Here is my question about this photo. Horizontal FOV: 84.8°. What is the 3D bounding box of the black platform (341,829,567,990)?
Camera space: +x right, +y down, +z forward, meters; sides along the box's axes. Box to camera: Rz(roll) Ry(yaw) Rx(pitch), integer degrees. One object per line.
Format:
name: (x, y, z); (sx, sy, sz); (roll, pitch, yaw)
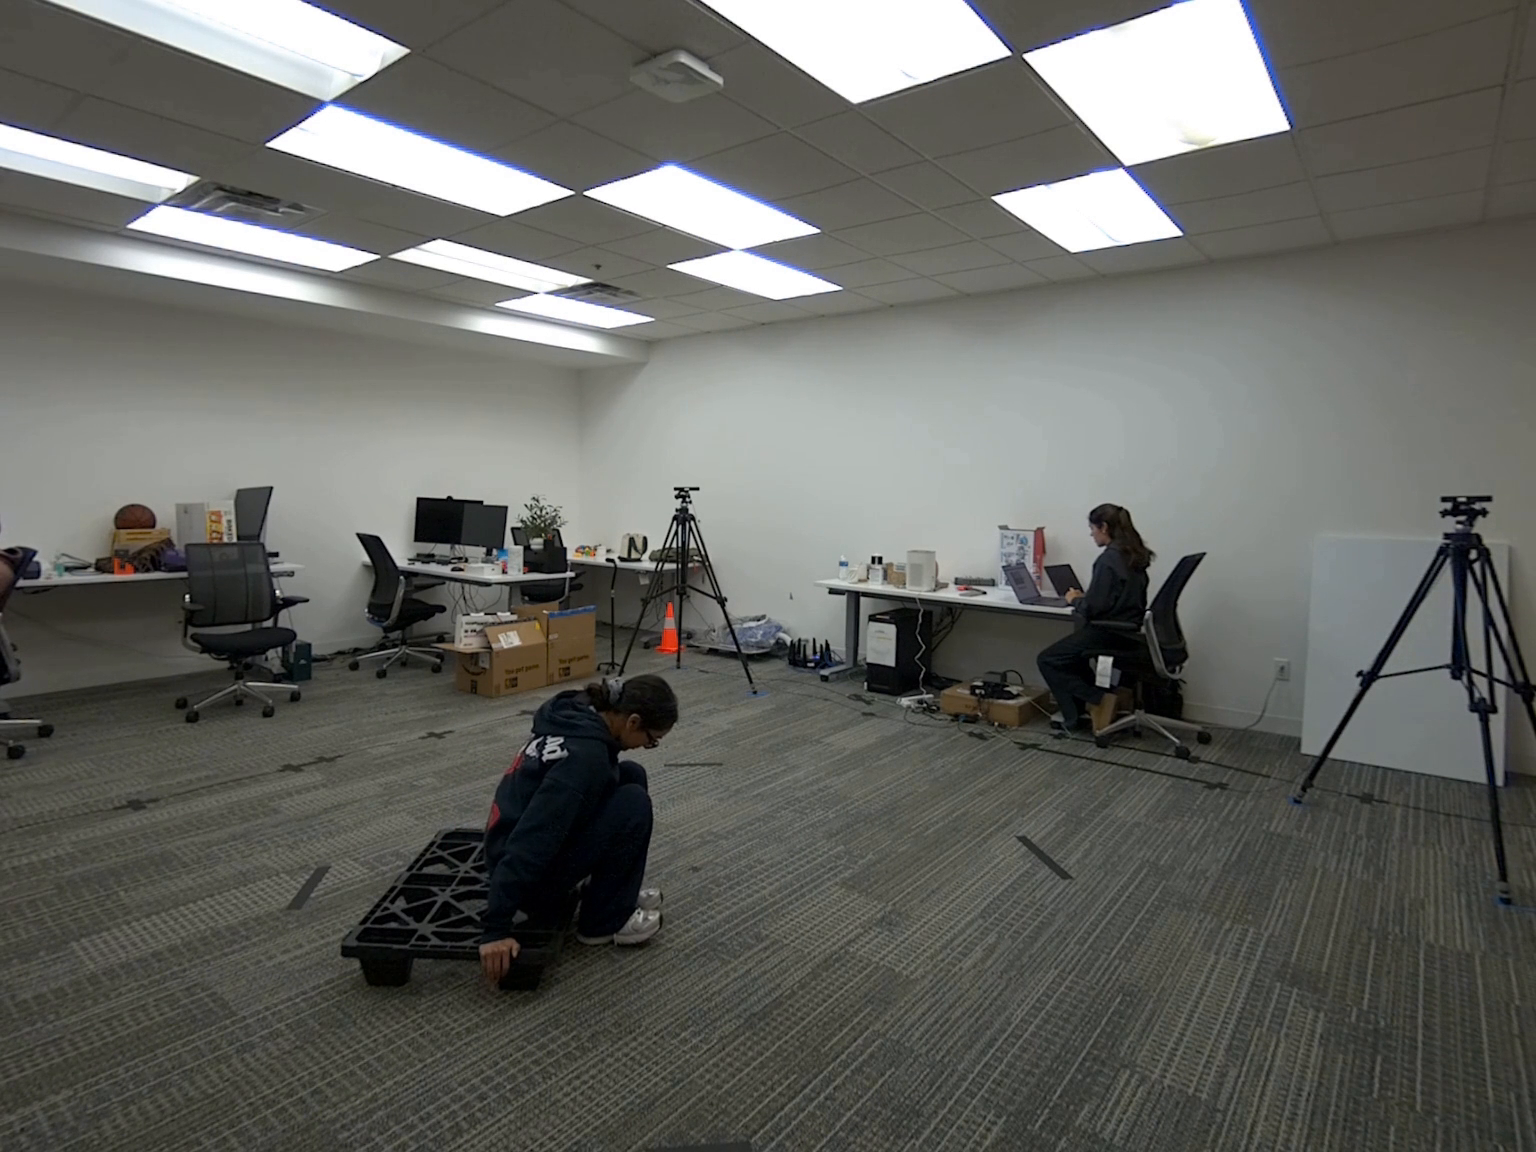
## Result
black platform: (-0.902, 1.029, 2.705); (0.606, 0.143, 0.808); (0, 6, -1)
